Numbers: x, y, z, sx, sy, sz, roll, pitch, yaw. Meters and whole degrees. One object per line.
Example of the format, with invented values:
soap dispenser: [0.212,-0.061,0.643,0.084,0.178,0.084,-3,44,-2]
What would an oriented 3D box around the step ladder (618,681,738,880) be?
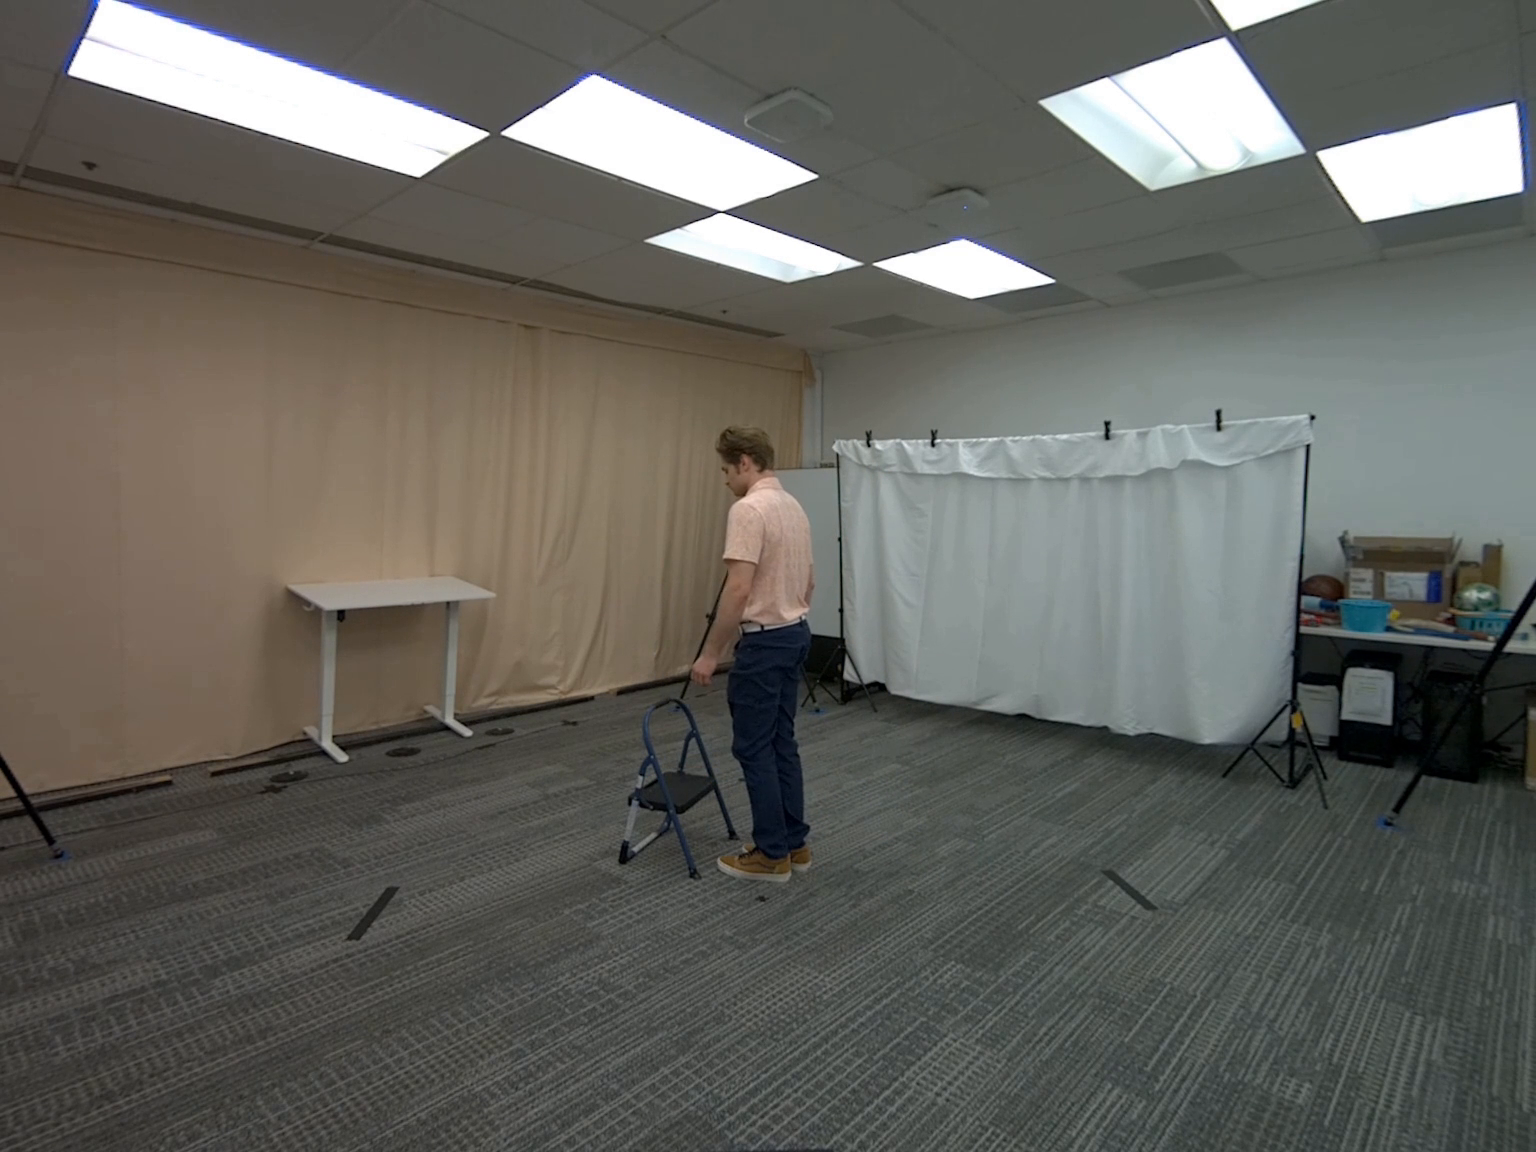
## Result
step ladder: [-0.359,0.811,3.392,0.357,0.605,0.422,1,3,21]
